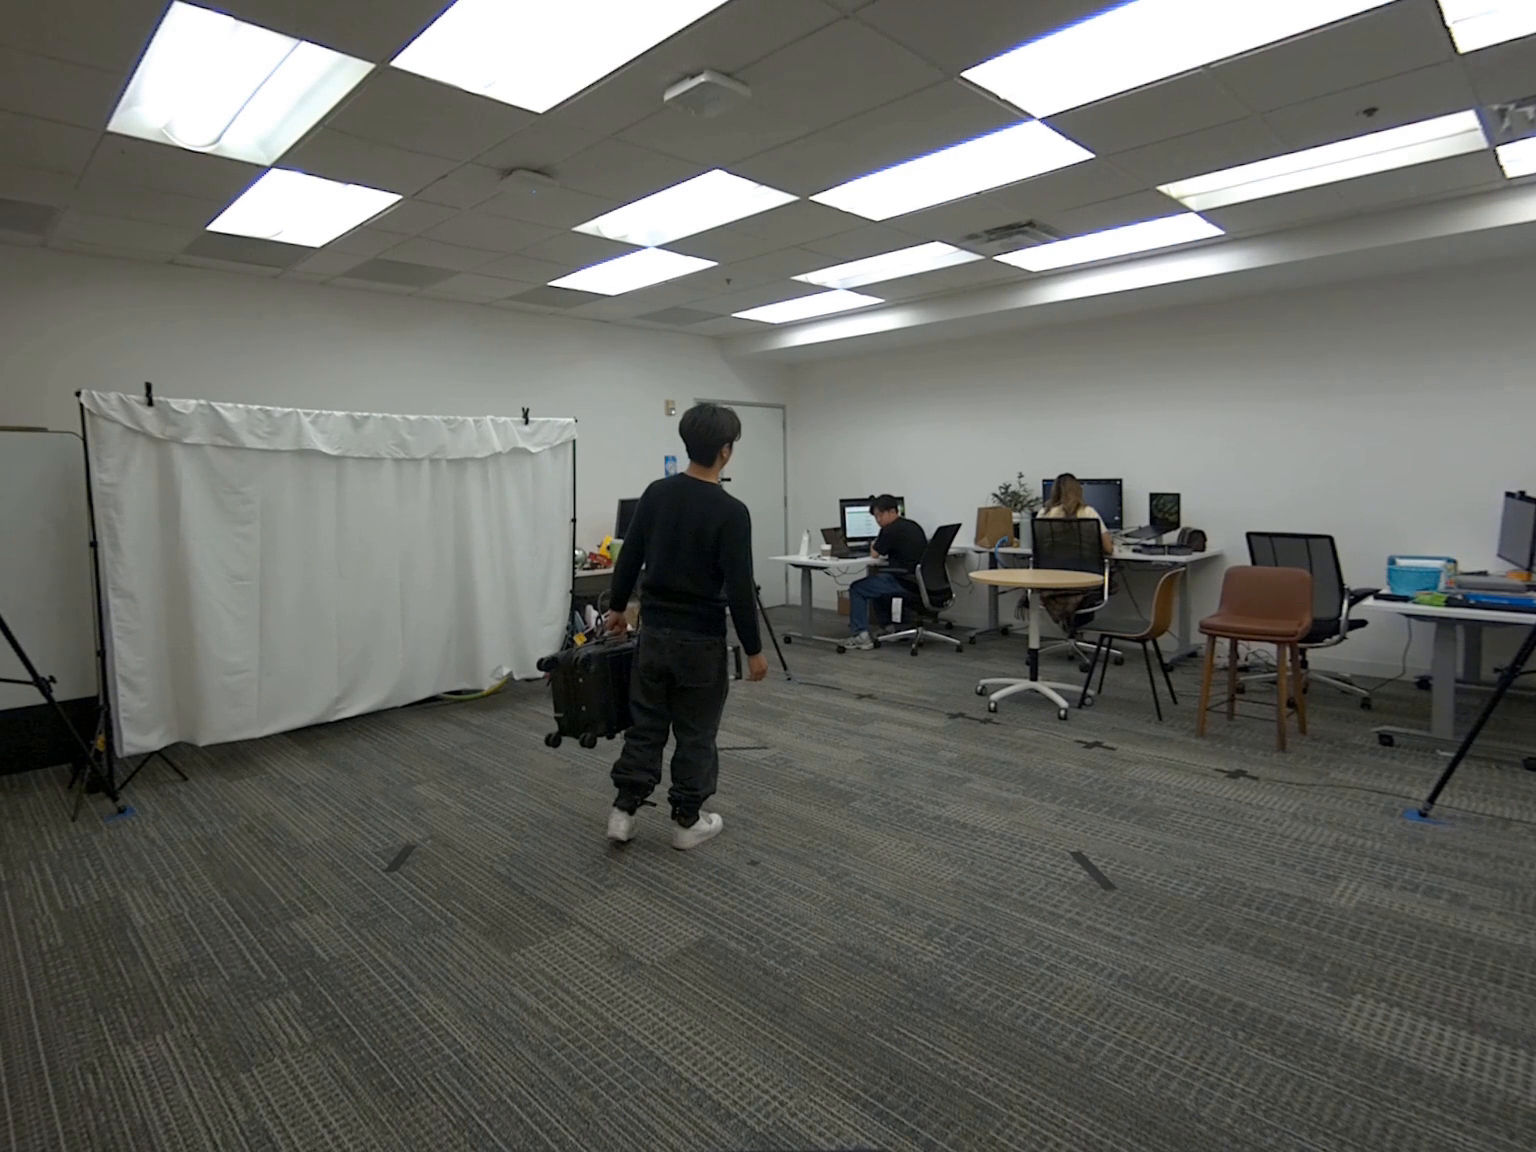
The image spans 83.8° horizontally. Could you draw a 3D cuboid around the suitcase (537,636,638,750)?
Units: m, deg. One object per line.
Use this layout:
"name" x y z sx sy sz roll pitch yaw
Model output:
"suitcase" -0.514 0.431 3.610 0.263 0.385 0.954 -9 -1 35
